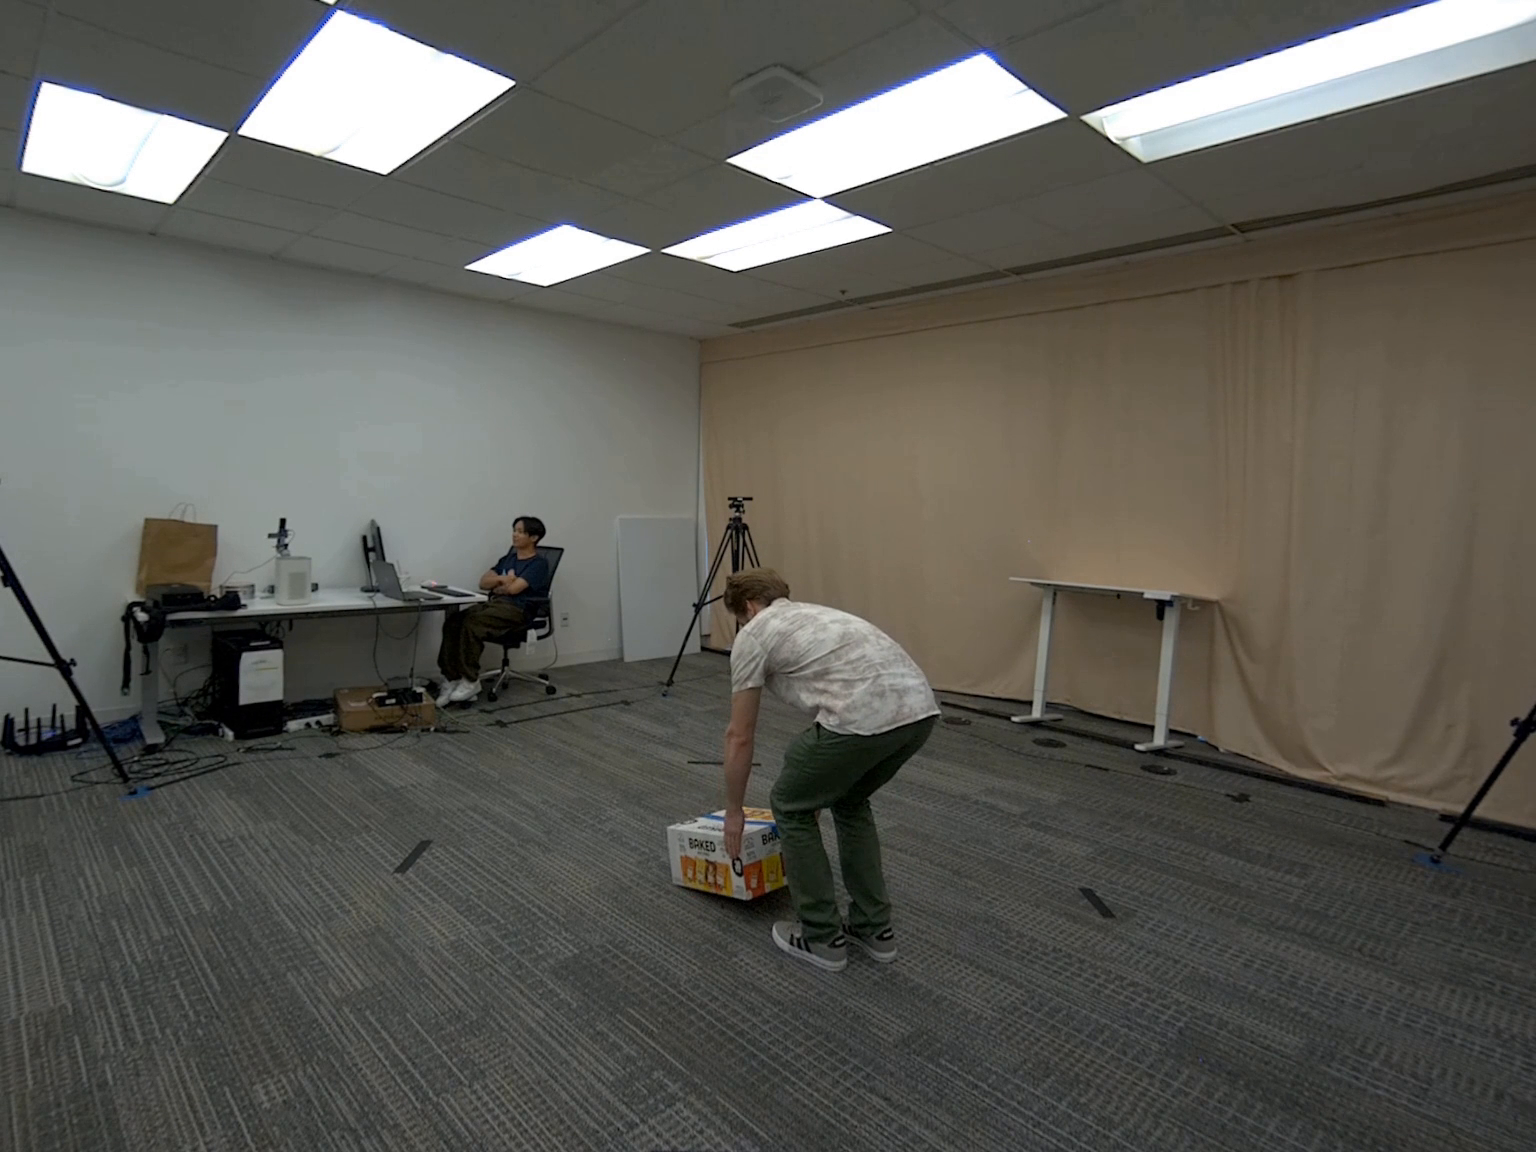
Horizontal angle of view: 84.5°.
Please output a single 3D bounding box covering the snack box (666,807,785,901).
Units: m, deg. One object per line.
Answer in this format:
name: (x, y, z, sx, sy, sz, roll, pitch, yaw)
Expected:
snack box: (-0.101, 0.976, 2.995, 0.332, 0.207, 0.412, -2, -7, -42)
